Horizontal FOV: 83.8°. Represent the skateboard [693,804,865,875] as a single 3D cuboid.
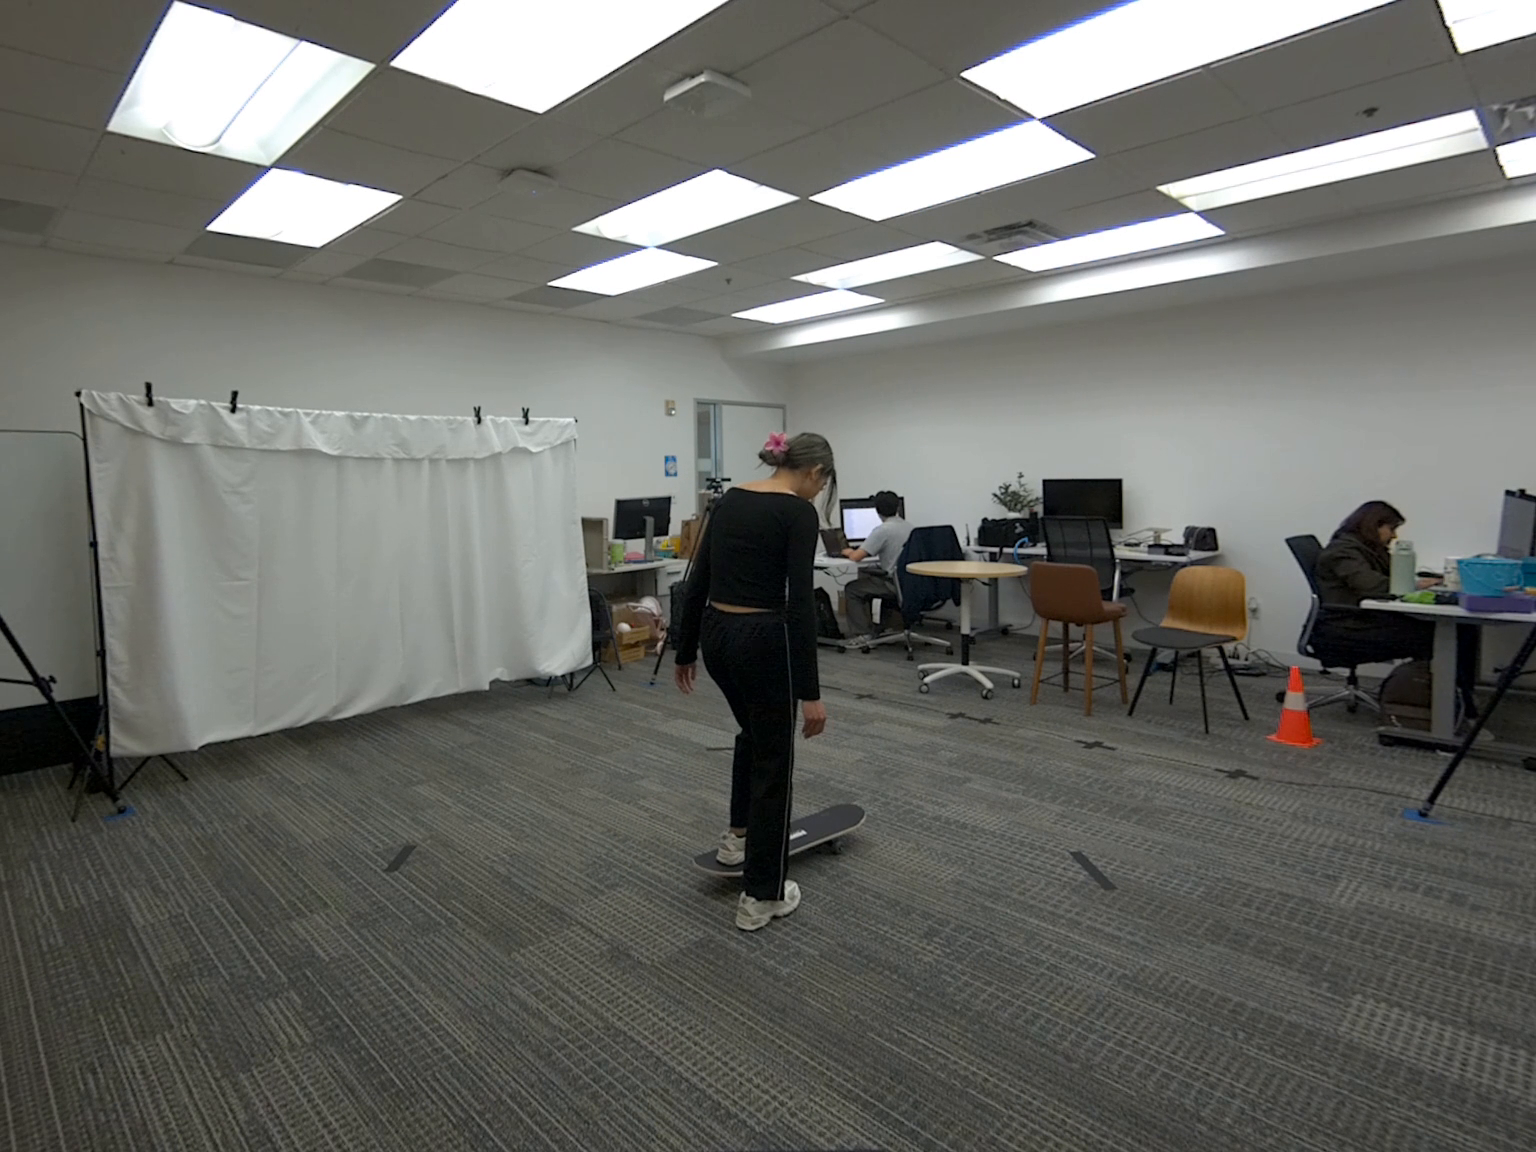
[{"bbox_3d":[0.068,0.988,3.107,0.765,0.110,0.199,-7,8,-40],"label":"skateboard"}]
